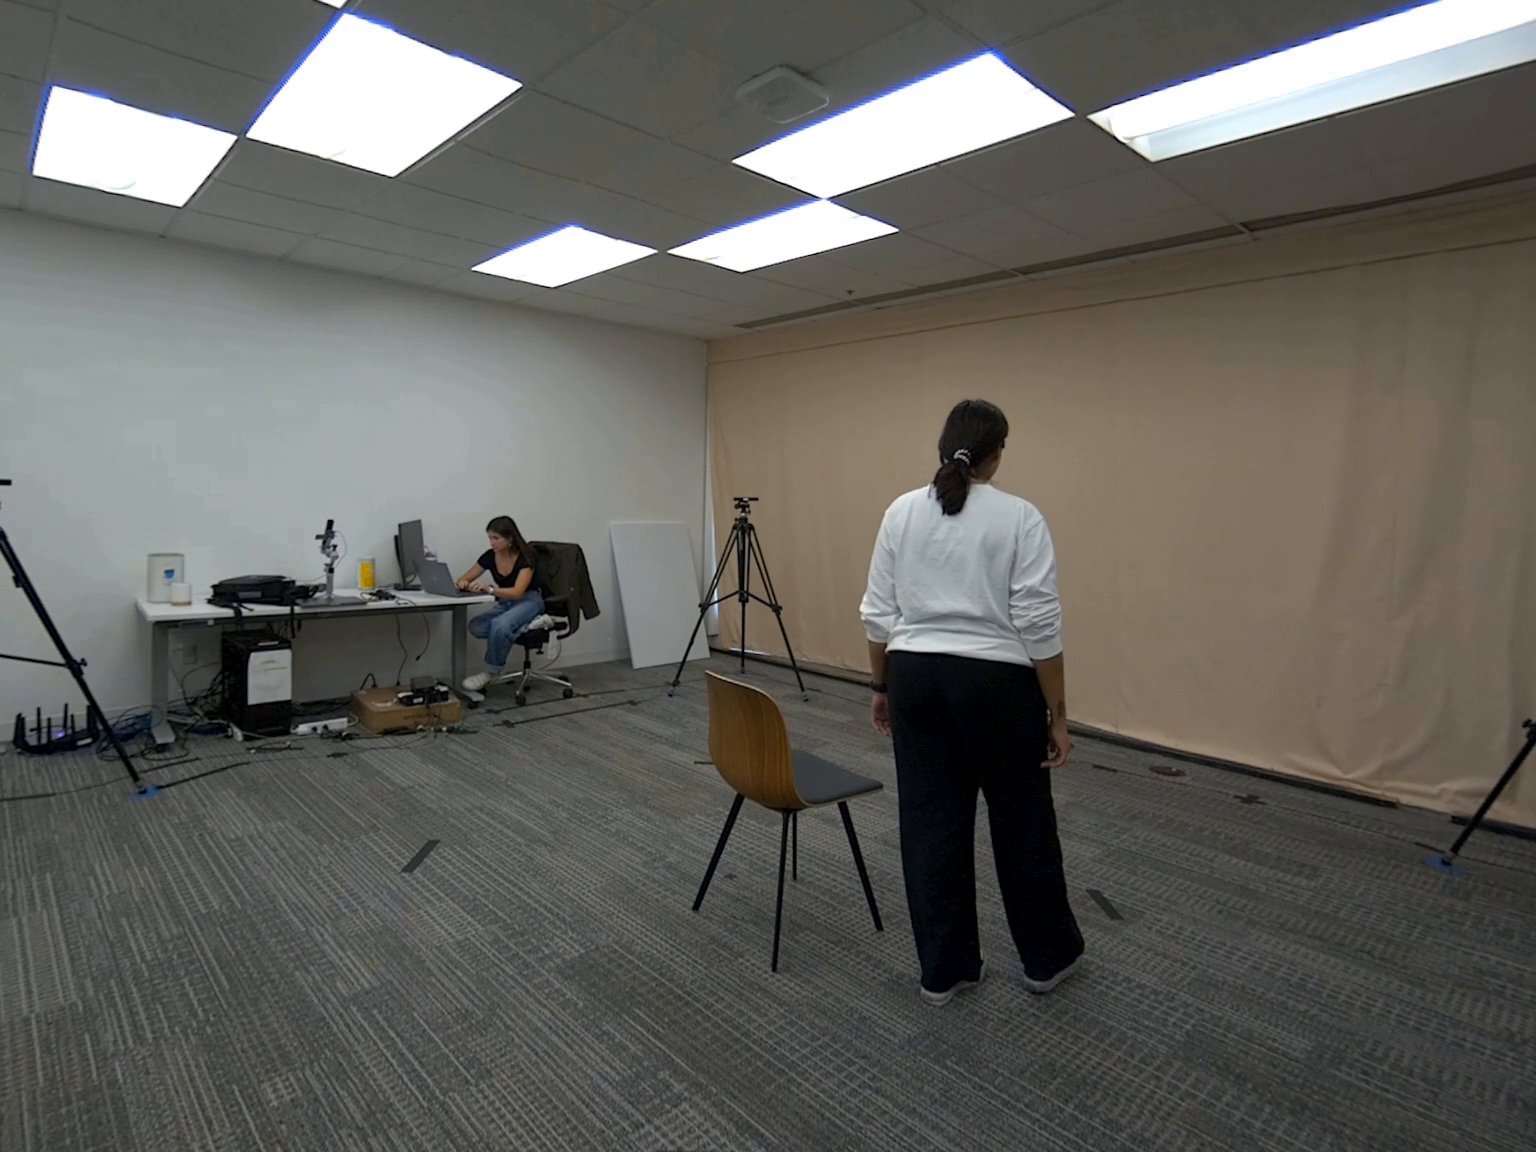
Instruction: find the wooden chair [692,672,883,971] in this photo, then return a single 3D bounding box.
[{"bbox_3d":[0.070,0.717,2.766,0.513,0.873,0.490,-7,7,-36],"label":"wooden chair"}]
